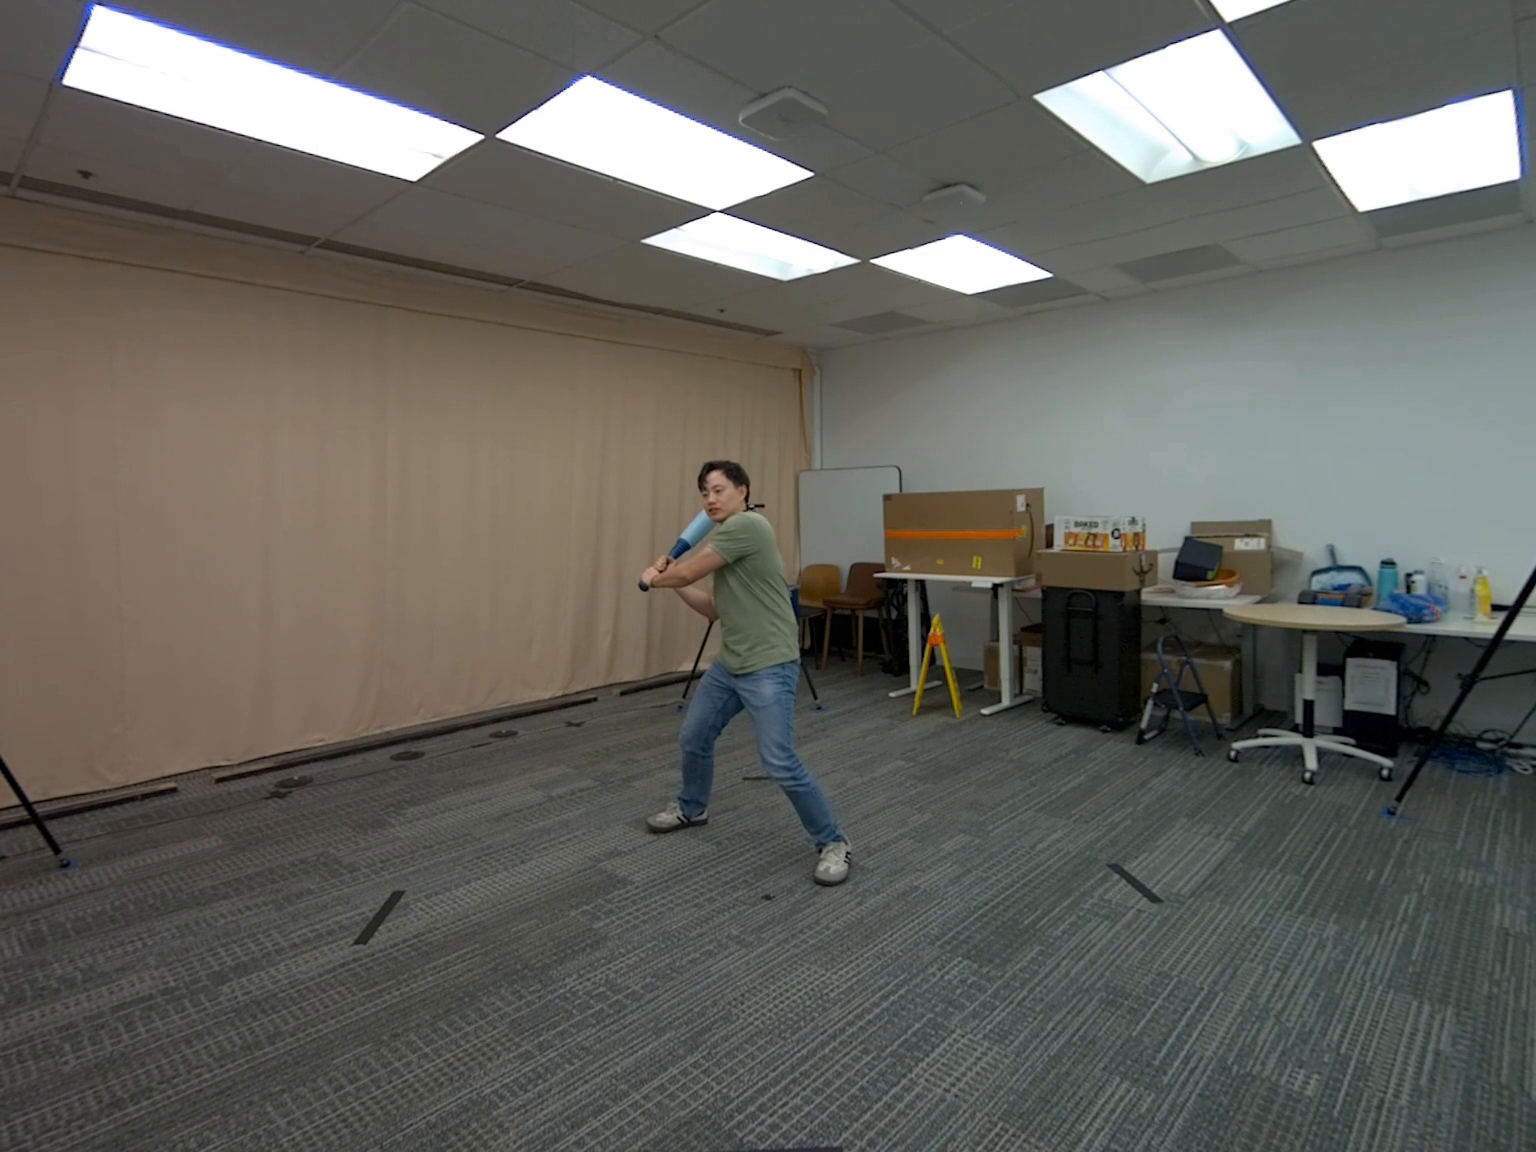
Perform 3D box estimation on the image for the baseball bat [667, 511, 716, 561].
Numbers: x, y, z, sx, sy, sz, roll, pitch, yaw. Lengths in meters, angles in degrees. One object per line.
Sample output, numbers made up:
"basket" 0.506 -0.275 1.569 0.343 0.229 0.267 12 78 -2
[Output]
"baseball bat" -0.367 -0.119 3.647 0.092 0.086 0.540 4 46 49
